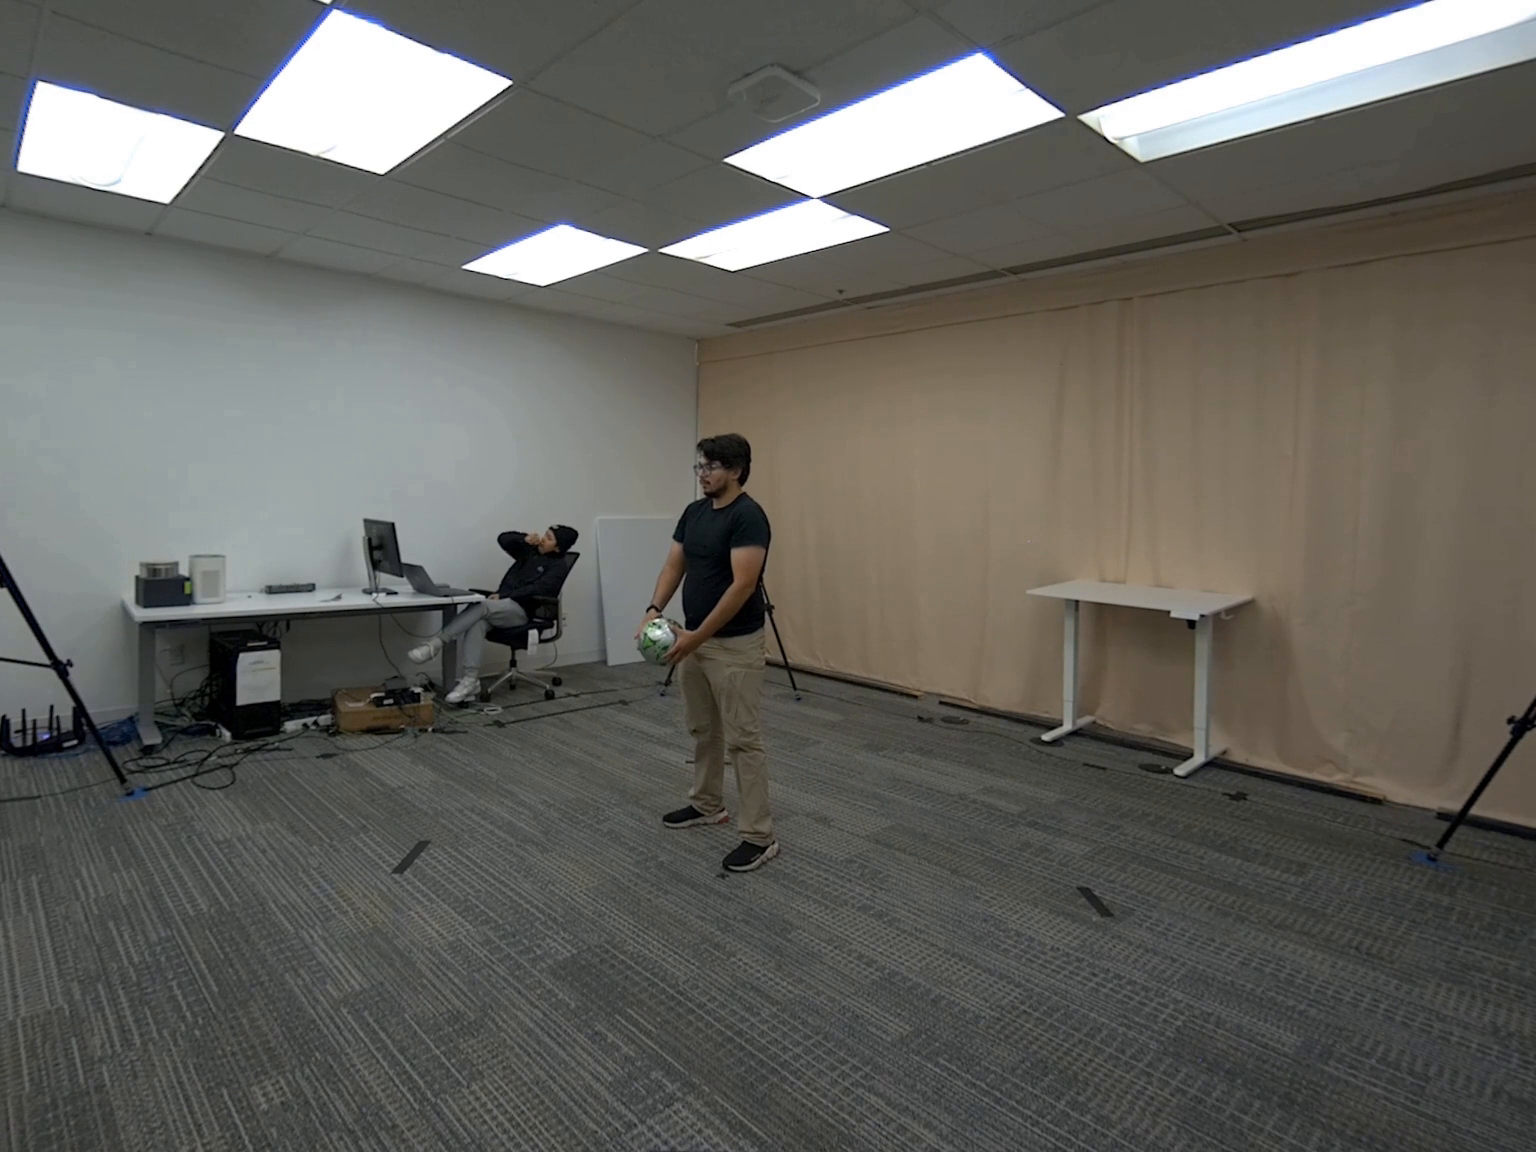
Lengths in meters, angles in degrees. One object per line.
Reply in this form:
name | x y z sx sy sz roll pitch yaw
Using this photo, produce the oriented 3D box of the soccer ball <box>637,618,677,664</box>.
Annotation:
soccer ball | -0.407 0.255 3.253 0.187 0.187 0.188 1 4 -1
